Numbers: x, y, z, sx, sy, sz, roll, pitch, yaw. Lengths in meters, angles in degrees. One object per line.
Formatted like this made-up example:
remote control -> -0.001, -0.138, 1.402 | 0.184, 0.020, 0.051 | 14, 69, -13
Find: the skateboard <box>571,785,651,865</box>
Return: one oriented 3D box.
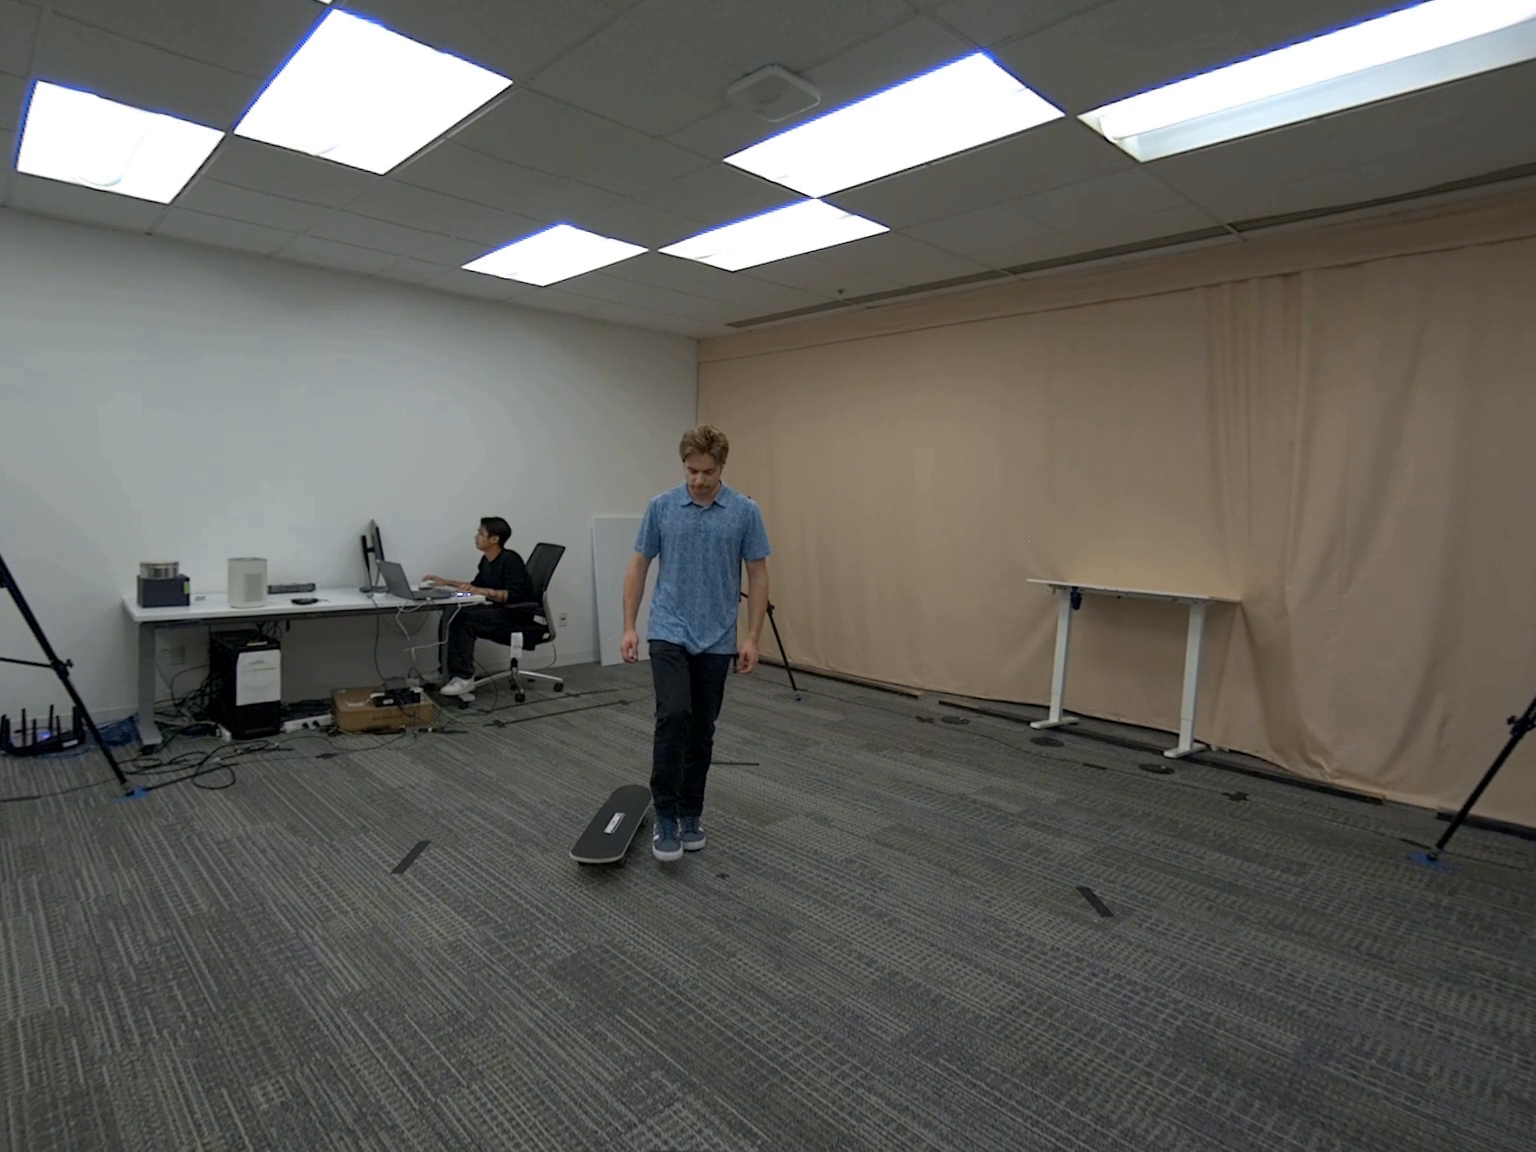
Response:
skateboard -> -0.614, 1.009, 3.357 | 0.194, 0.110, 0.785 | 1, 5, 2
